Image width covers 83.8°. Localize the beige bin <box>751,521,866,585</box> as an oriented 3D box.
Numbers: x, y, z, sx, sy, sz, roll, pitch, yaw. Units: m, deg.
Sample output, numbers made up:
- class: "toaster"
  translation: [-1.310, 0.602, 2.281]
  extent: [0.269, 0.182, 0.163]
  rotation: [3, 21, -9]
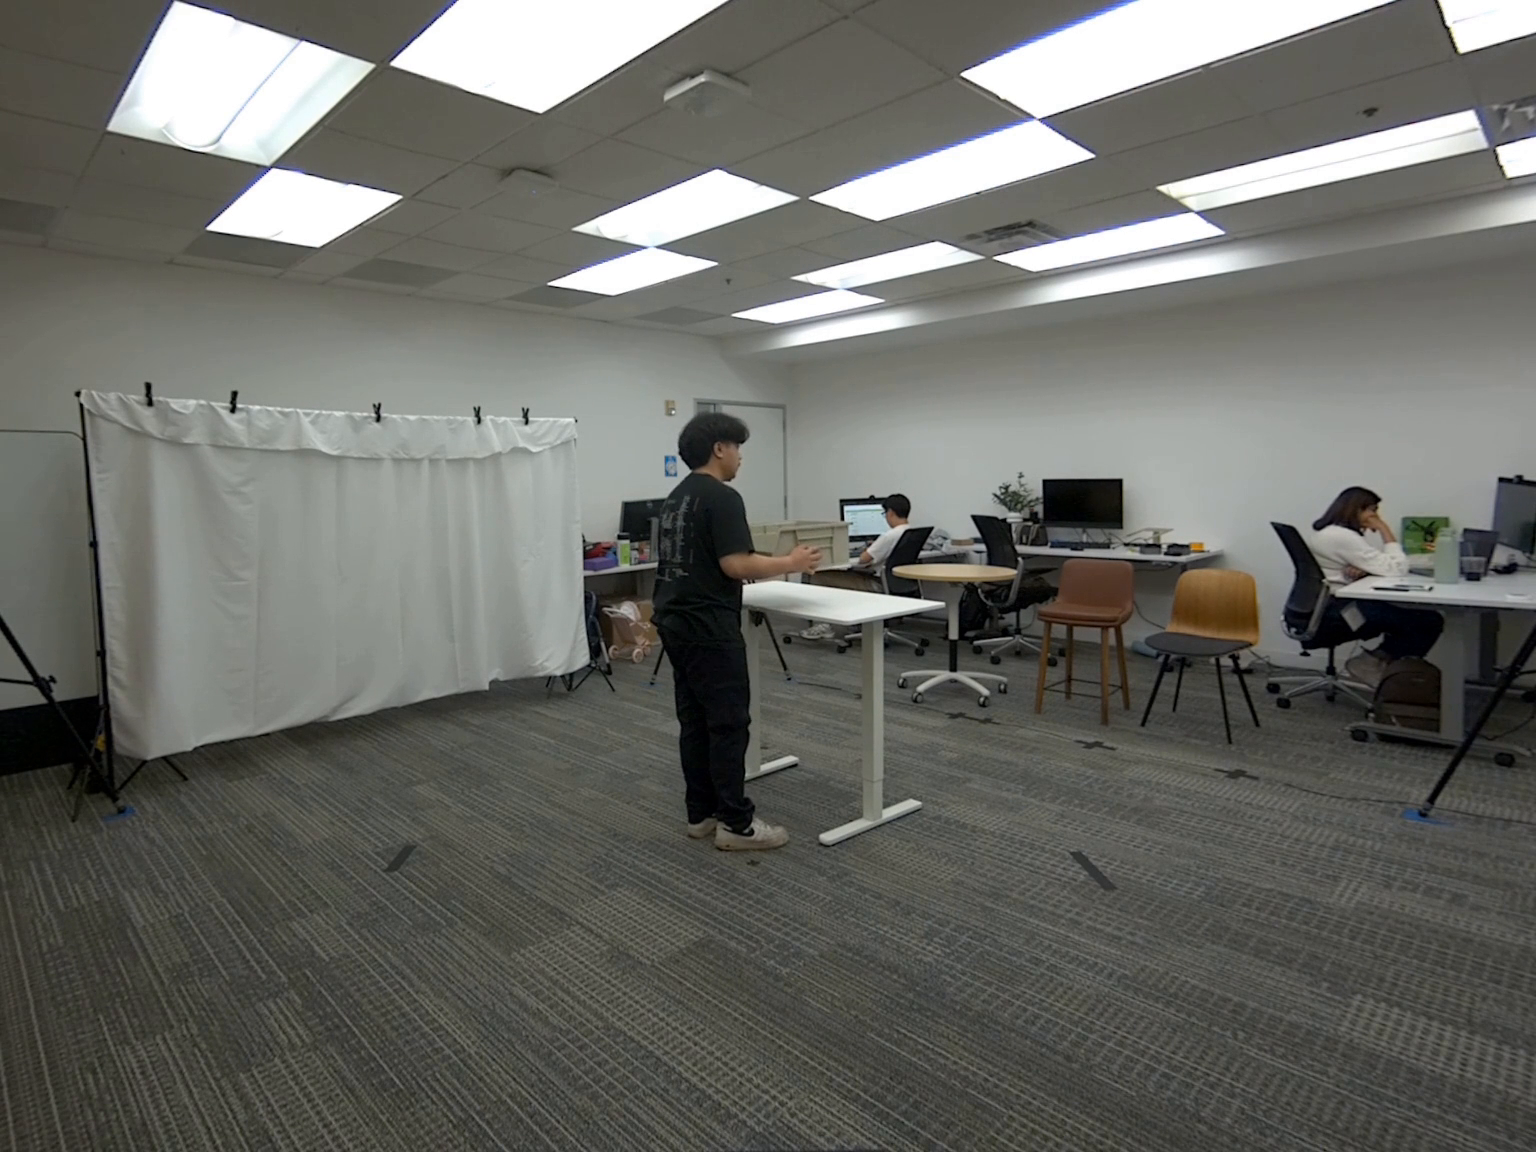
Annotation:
- class: "beige bin"
  translation: [0.091, -0.124, 3.508]
  extent: [0.370, 0.188, 0.432]
  rotation: [-4, 6, -23]
